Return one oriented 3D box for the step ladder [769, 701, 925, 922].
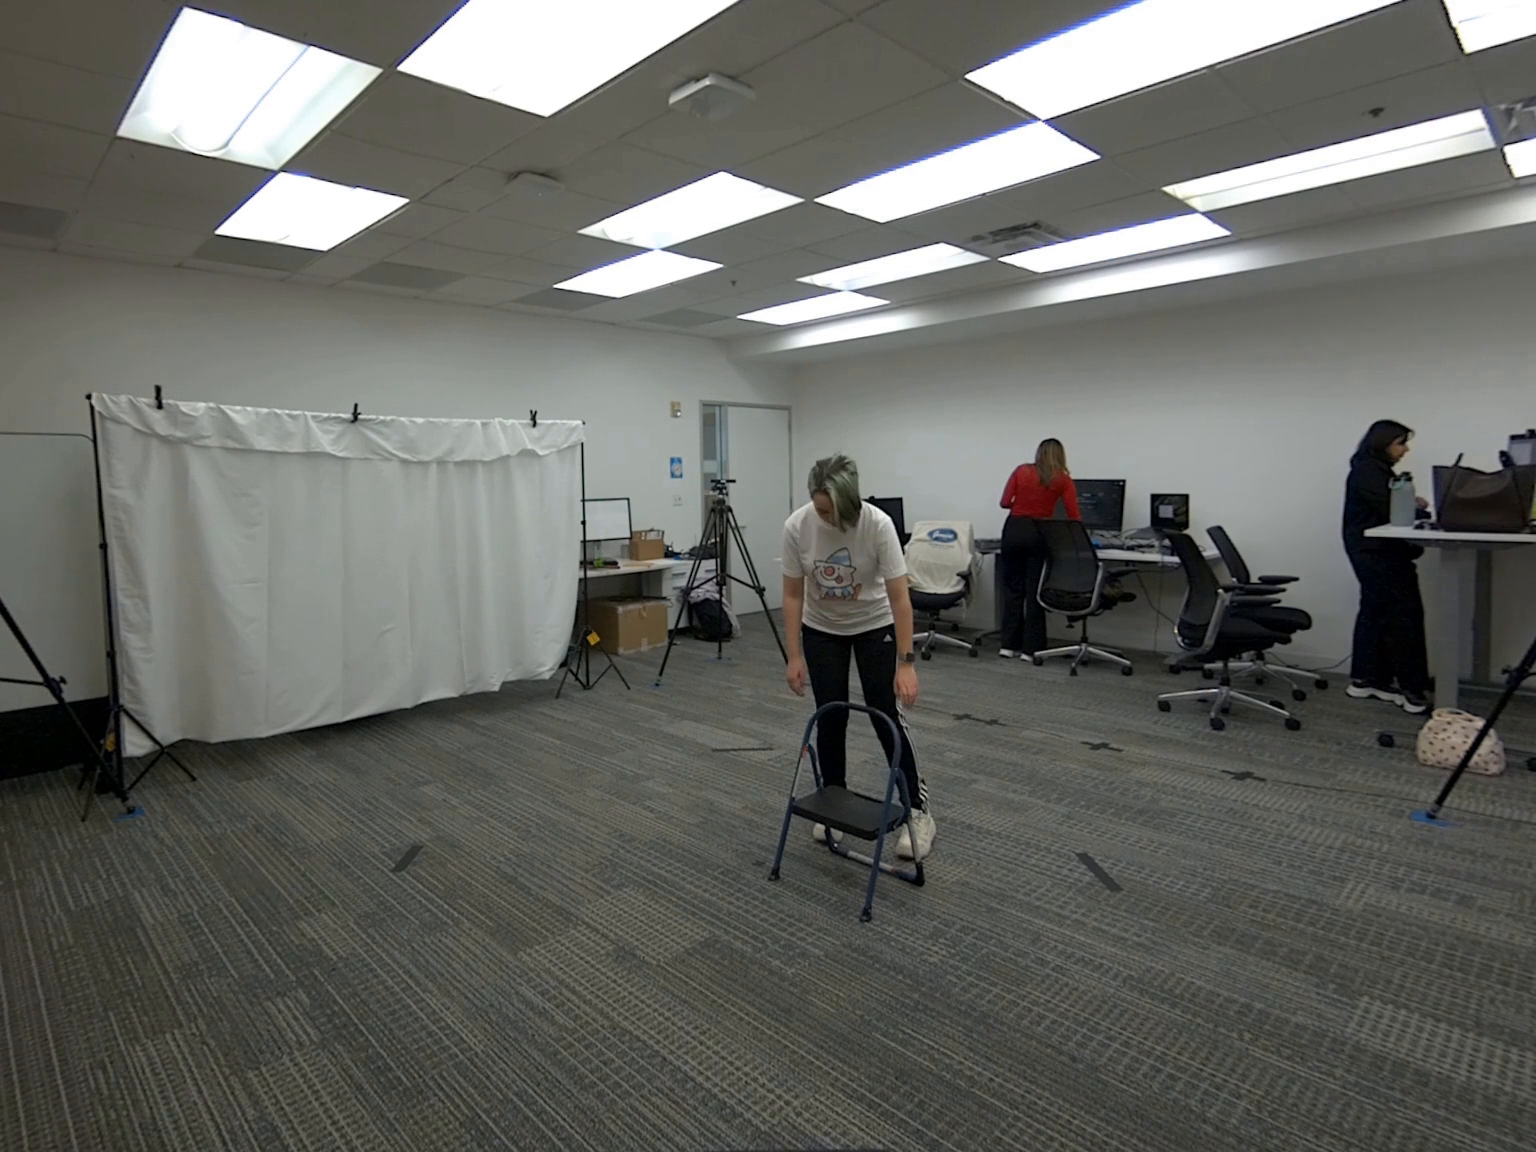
[{"bbox_3d":[0.267,0.757,2.935,0.444,0.604,0.340,4,6,45],"label":"step ladder"}]
